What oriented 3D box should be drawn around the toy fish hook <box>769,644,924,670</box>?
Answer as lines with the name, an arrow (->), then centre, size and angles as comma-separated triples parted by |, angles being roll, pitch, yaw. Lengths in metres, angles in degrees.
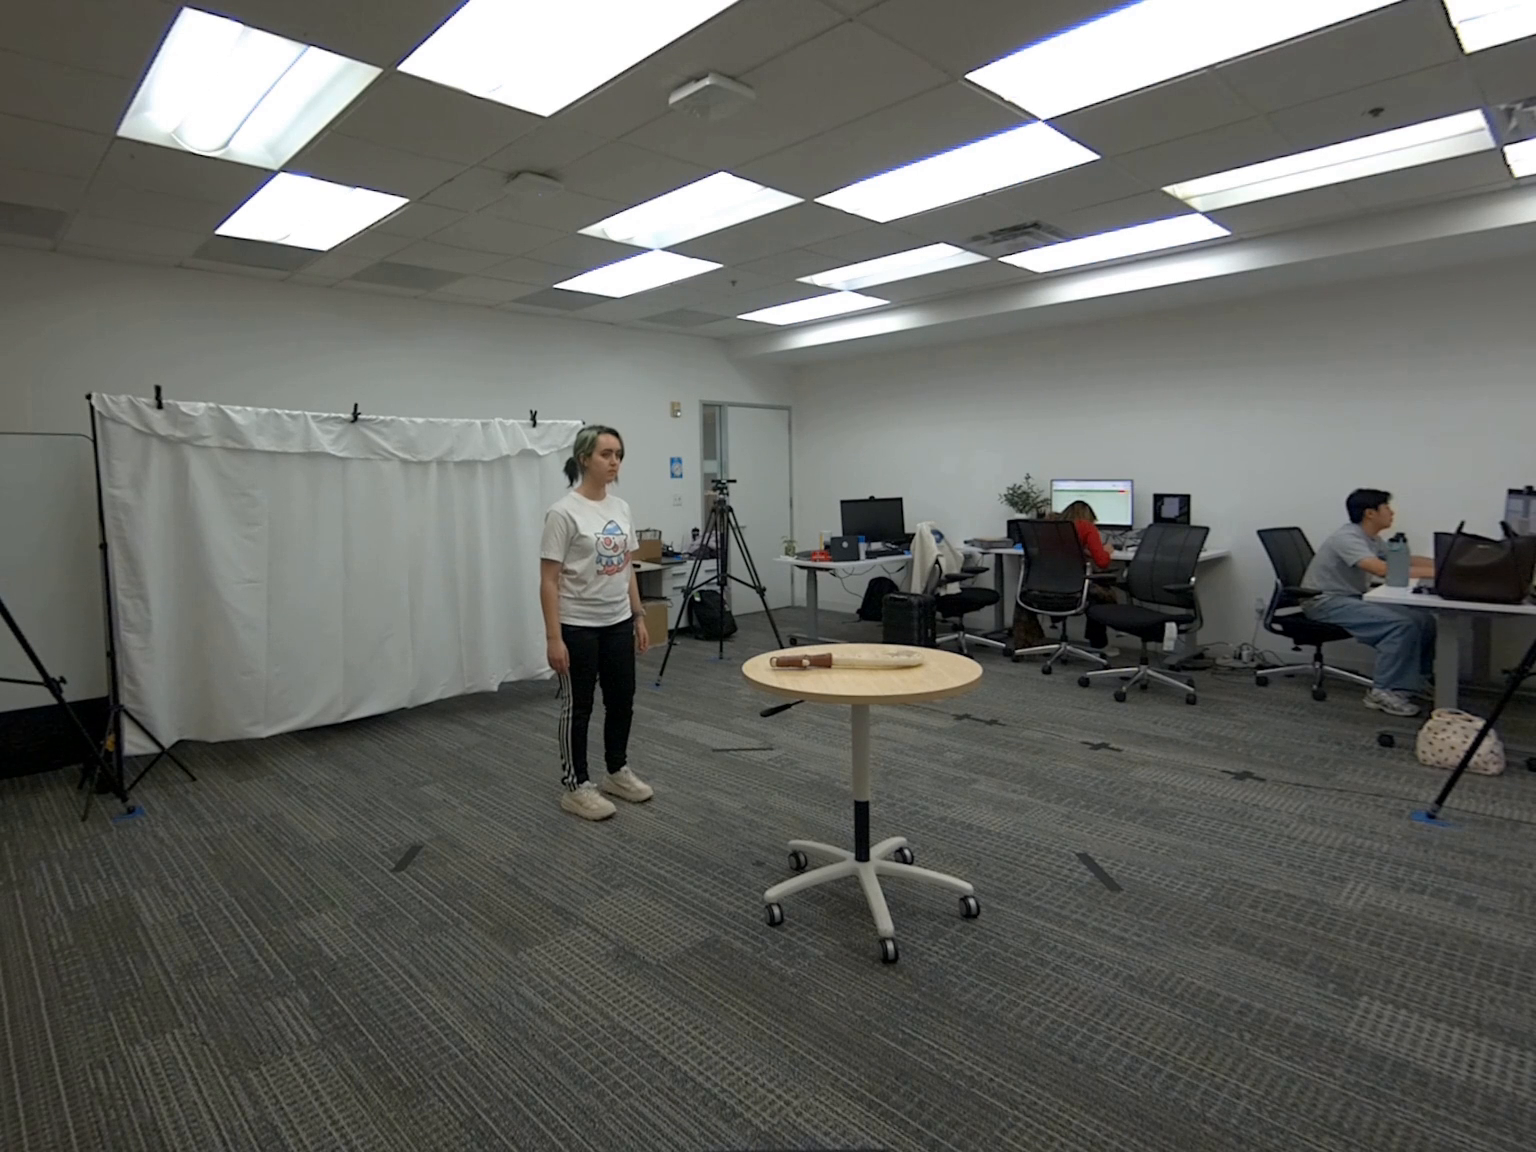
toy fish hook -> 0.258, 0.274, 2.804 | 0.506, 0.048, 0.224 | -1, 0, -1
